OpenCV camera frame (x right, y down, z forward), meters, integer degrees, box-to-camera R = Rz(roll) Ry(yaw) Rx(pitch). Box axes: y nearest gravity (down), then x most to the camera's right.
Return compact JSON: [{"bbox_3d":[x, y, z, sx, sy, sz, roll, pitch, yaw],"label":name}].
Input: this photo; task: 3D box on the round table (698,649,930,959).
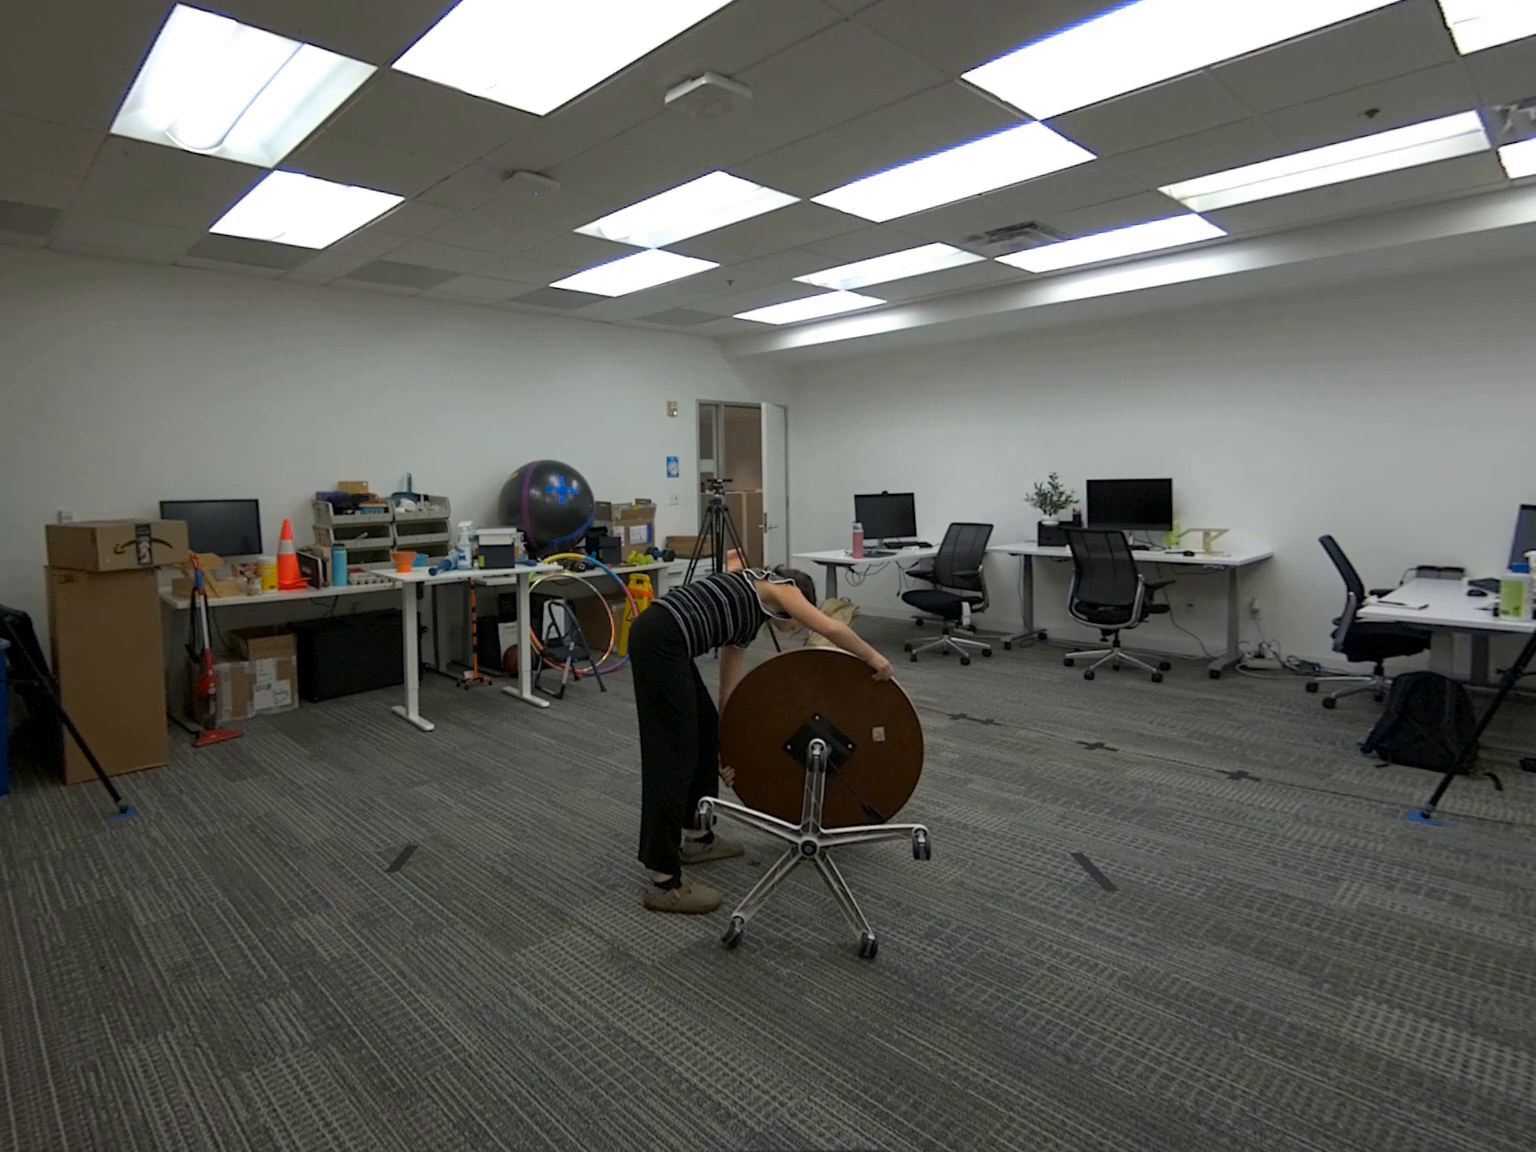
[{"bbox_3d":[0.157,0.732,2.816,0.770,0.756,0.796,0,12,7],"label":"round table"}]
